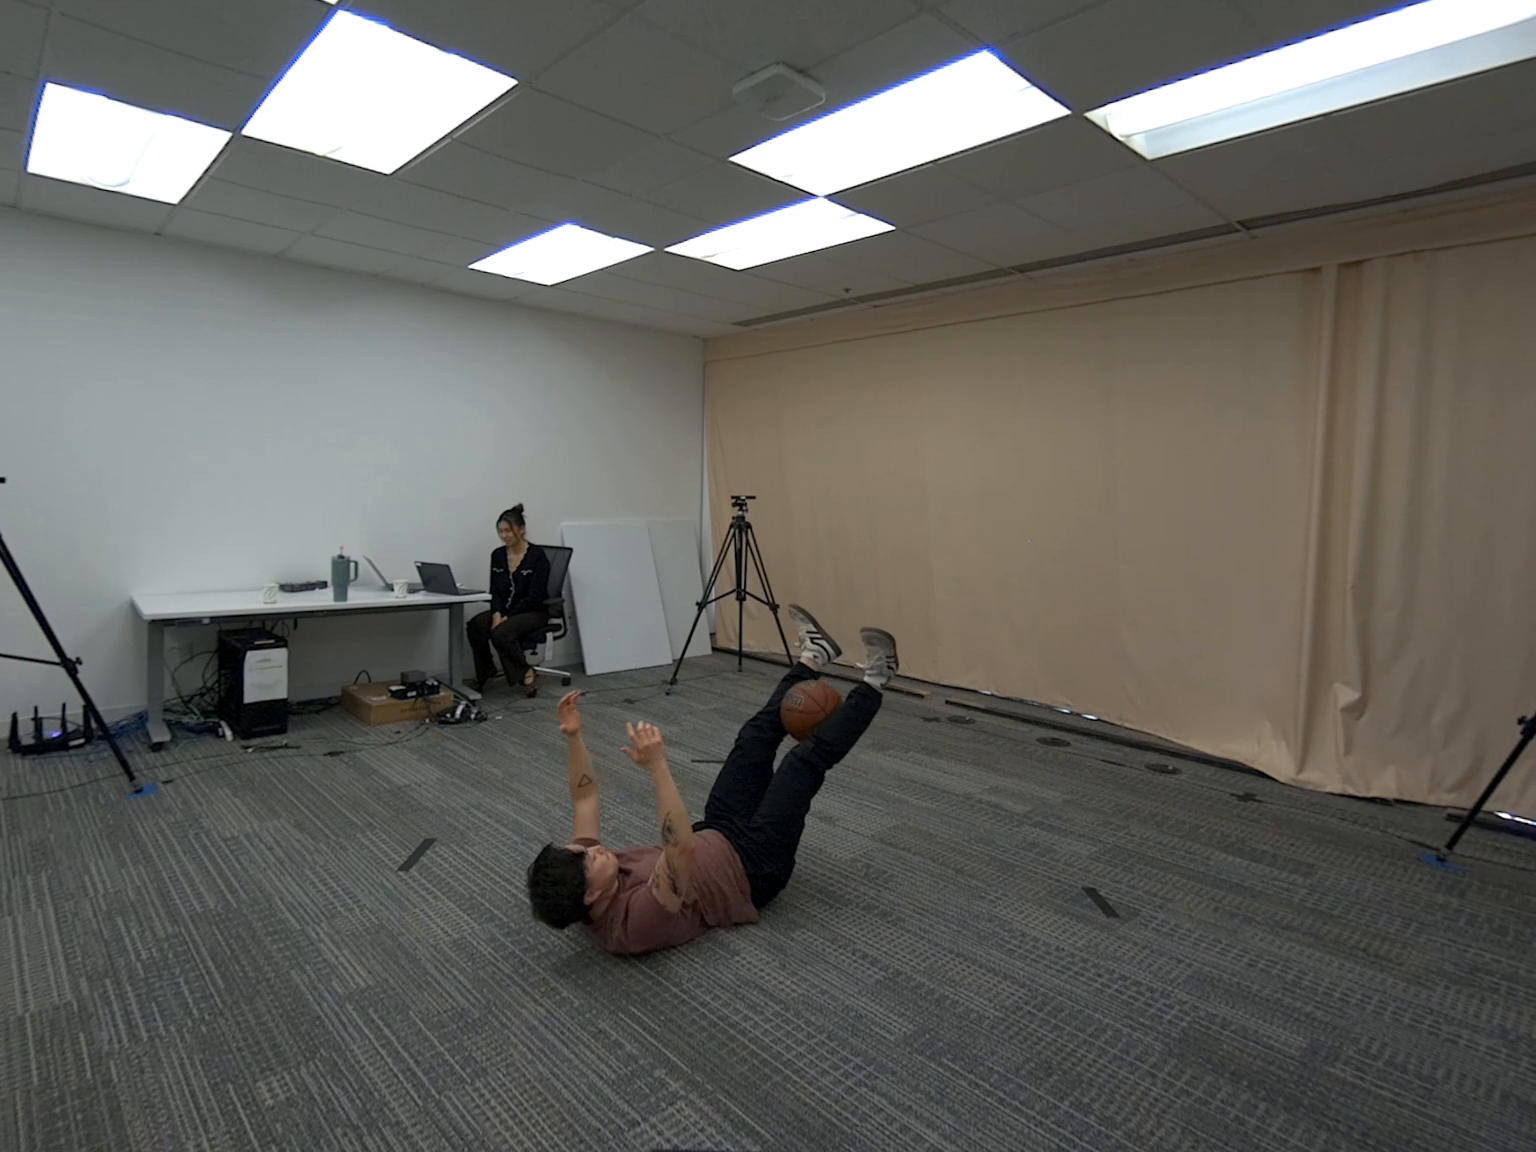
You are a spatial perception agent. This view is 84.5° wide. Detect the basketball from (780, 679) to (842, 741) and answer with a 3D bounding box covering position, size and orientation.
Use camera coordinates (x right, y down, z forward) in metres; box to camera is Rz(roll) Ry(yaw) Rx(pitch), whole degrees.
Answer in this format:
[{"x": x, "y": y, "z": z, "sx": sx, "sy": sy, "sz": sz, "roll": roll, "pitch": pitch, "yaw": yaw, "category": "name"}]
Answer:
[{"x": 0.157, "y": 0.509, "z": 3.101, "sx": 0.236, "sy": 0.235, "sz": 0.237, "roll": 2, "pitch": 4, "yaw": -2, "category": "basketball"}]
